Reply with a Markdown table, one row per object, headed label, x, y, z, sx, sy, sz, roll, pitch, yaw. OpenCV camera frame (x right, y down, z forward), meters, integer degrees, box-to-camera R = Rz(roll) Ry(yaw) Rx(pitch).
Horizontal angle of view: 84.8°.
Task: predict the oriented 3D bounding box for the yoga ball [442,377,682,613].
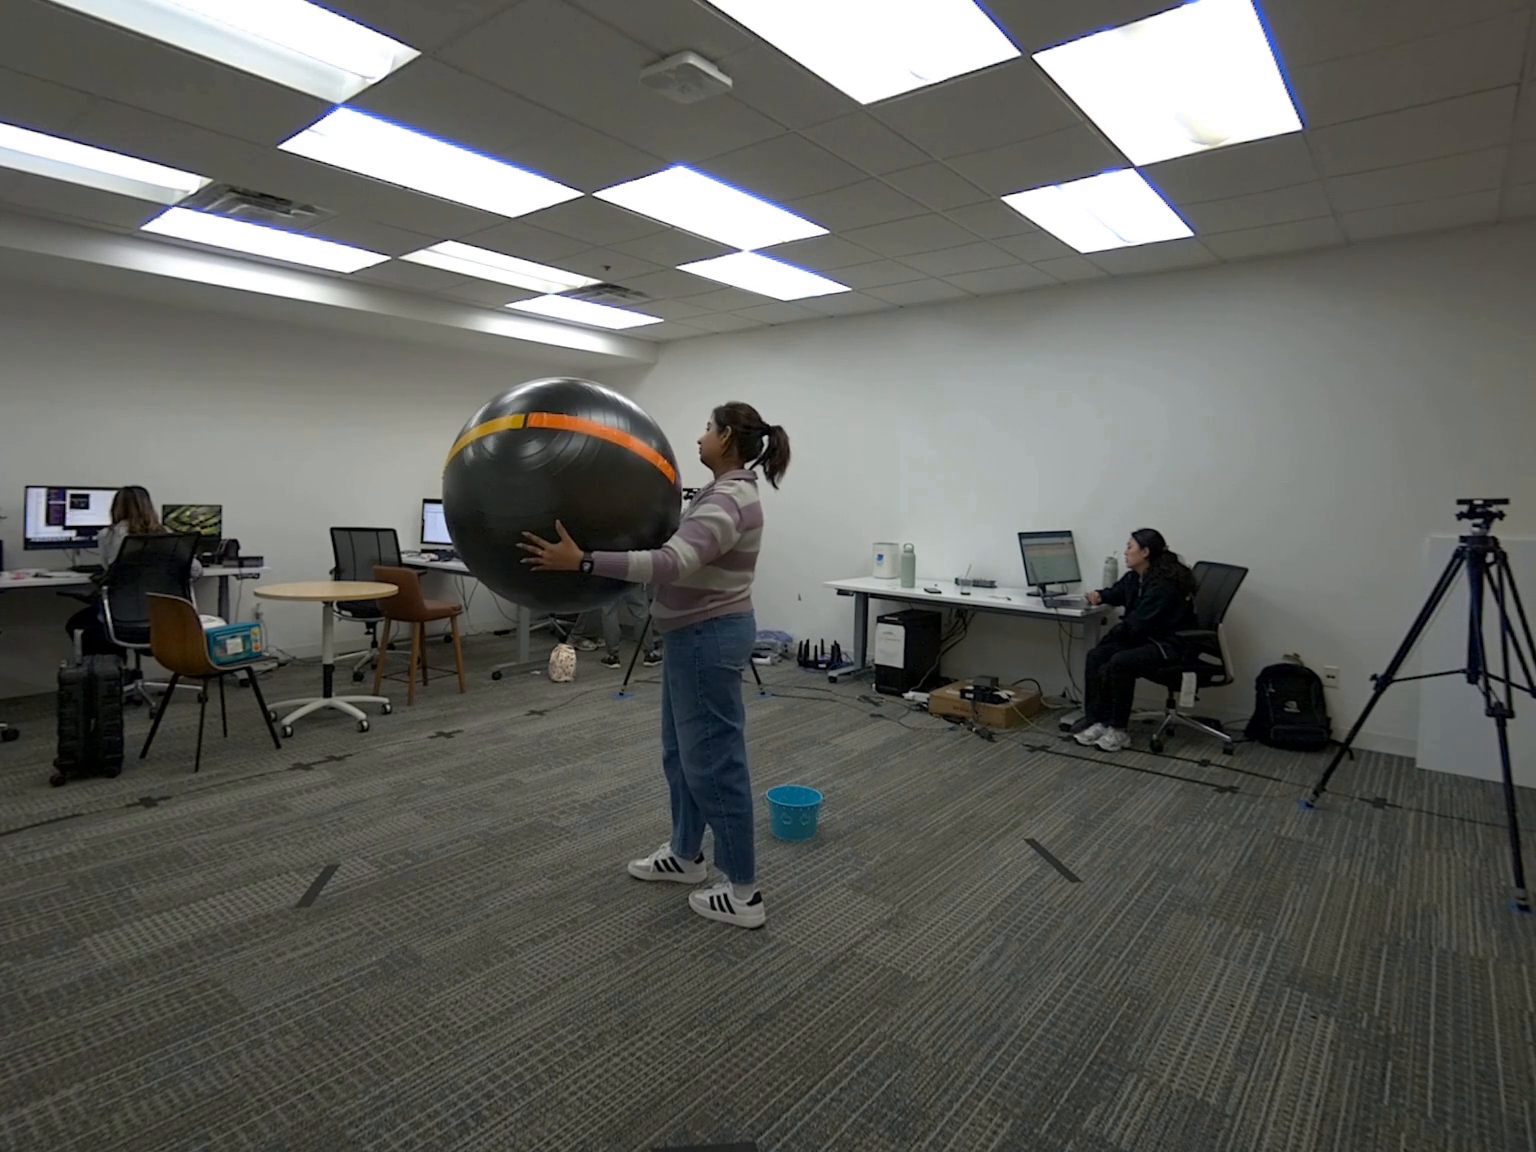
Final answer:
| label | x | y | z | sx | sy | sz | roll | pitch | yaw |
| --- | --- | --- | --- | --- | --- | --- | --- | --- | --- |
| yoga ball | -0.680 | -0.252 | 2.752 | 0.757 | 0.756 | 0.761 | 1 | 4 | -2 |
